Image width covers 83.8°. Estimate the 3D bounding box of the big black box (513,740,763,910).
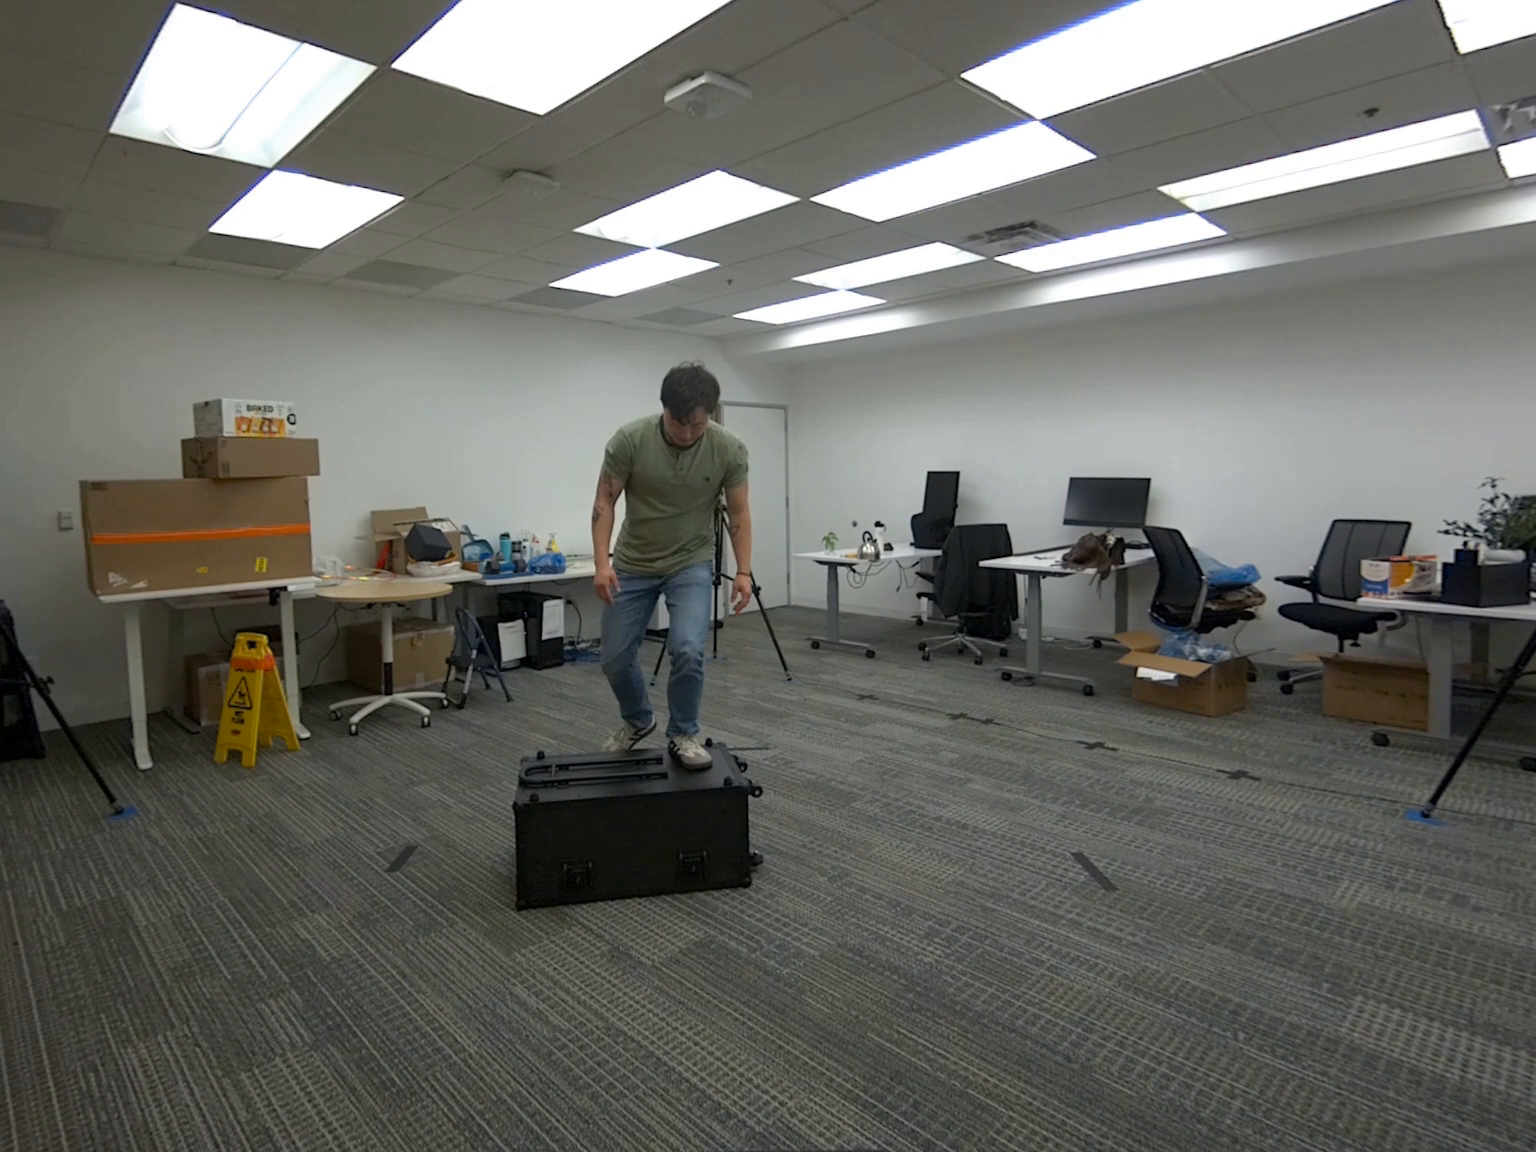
[{"bbox_3d":[-0.464,0.863,3.088,0.852,0.395,0.529,-1,5,-11],"label":"big black box"}]
